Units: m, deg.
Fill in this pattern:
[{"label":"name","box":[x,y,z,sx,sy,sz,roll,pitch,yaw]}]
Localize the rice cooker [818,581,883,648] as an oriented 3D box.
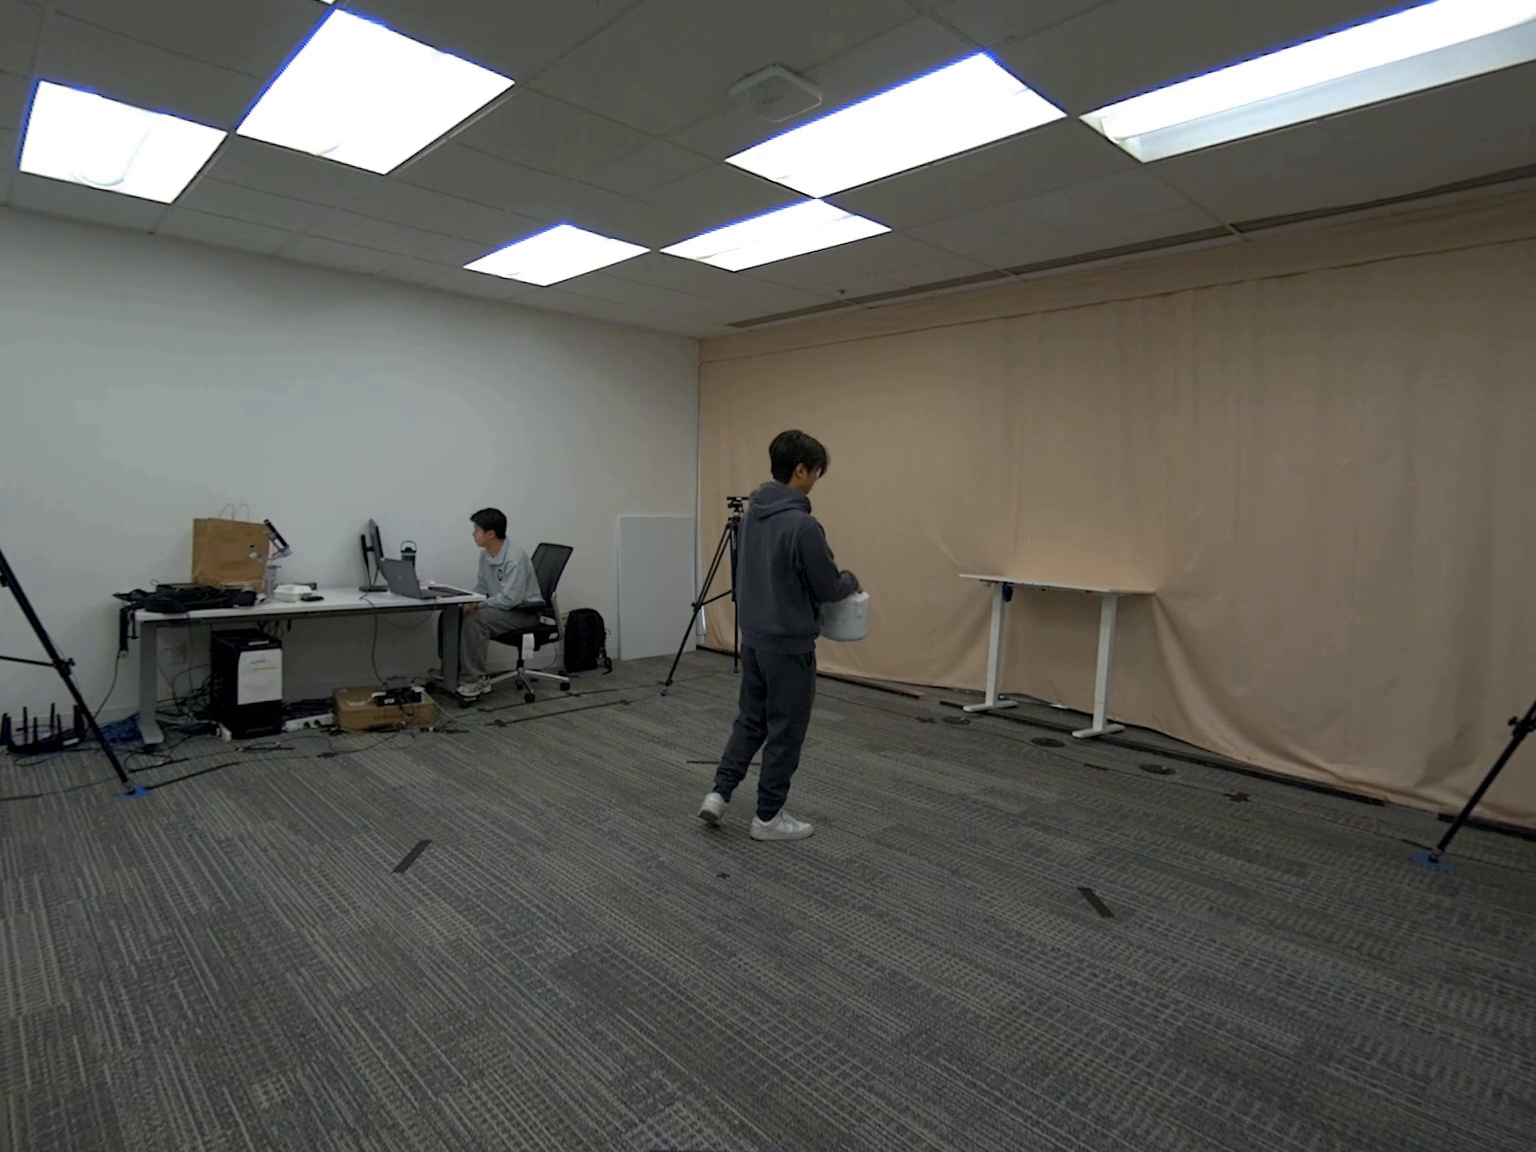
[{"label":"rice cooker","box":[0.335,0.153,3.648,0.213,0.231,0.226,-6,10,-30]}]
